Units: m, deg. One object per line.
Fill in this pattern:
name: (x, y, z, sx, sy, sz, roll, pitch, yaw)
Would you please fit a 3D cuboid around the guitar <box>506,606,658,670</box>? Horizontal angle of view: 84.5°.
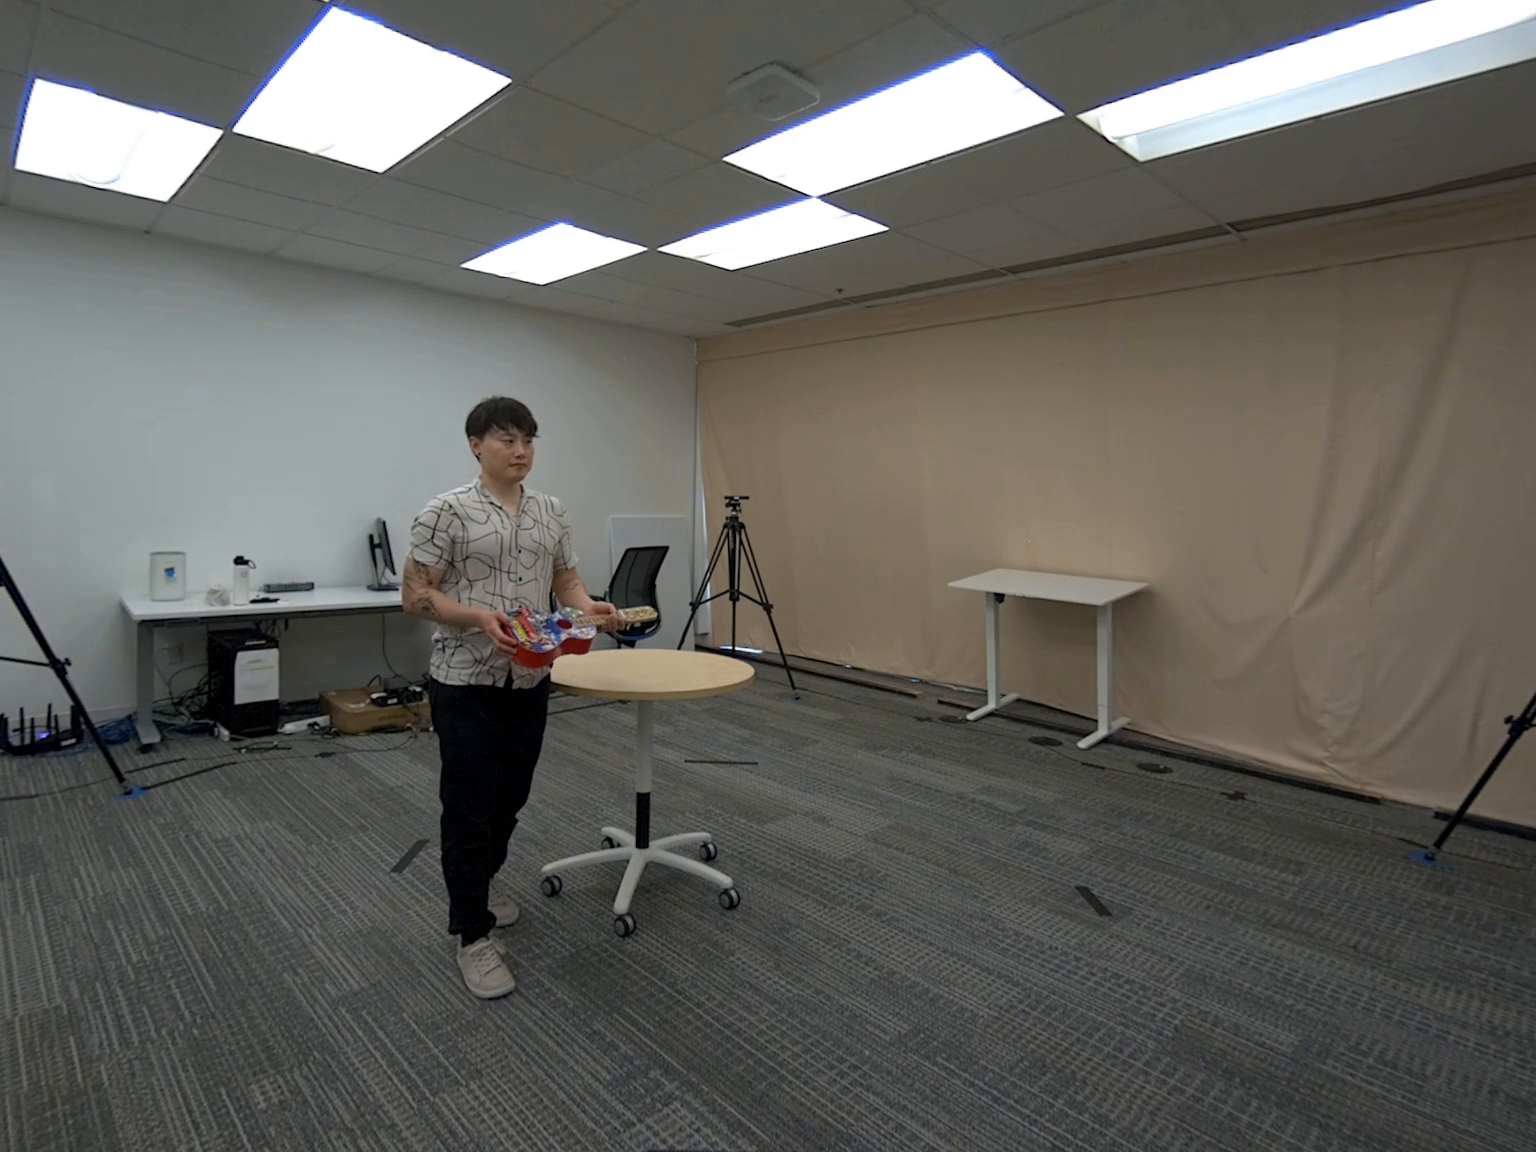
guitar: (-0.541, 0.171, 2.425, 0.486, 0.070, 0.199, 0, 35, -37)
